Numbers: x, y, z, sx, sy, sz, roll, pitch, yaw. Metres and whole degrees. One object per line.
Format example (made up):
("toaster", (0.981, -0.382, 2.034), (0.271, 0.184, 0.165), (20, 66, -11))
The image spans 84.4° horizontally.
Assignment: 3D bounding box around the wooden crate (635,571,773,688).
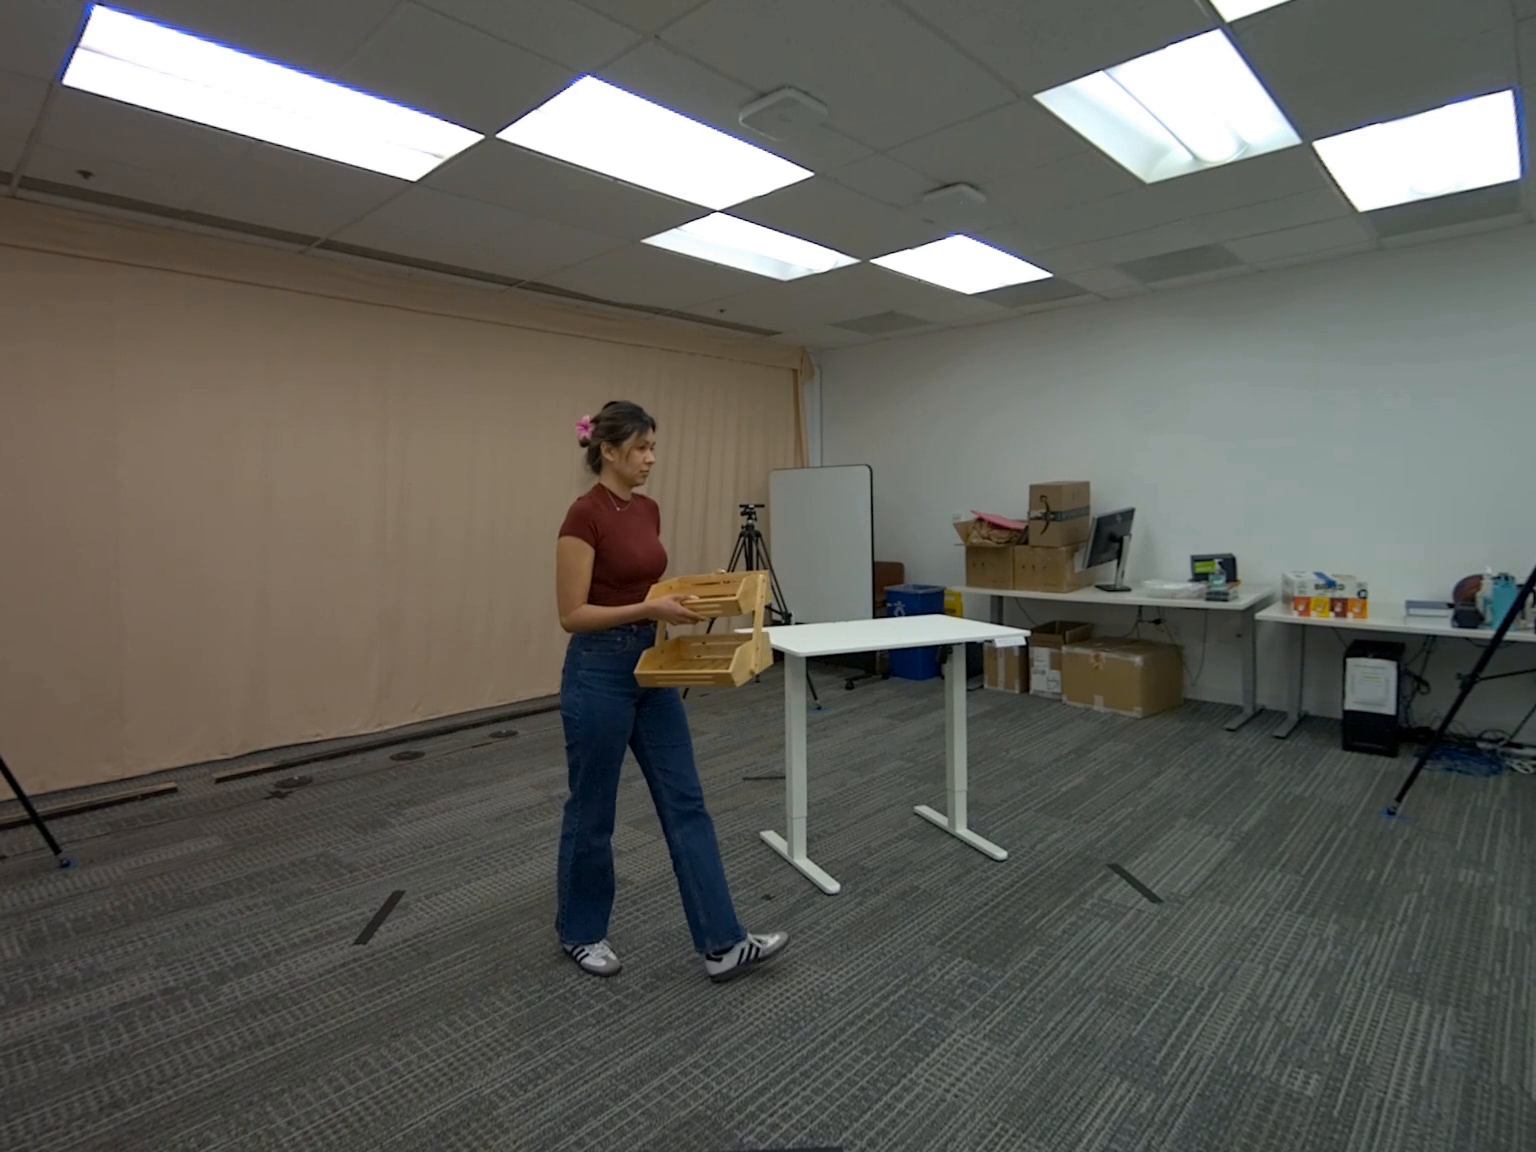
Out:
("wooden crate", (-0.177, 0.140, 2.330), (0.333, 0.272, 0.295), (-4, 5, 29))
